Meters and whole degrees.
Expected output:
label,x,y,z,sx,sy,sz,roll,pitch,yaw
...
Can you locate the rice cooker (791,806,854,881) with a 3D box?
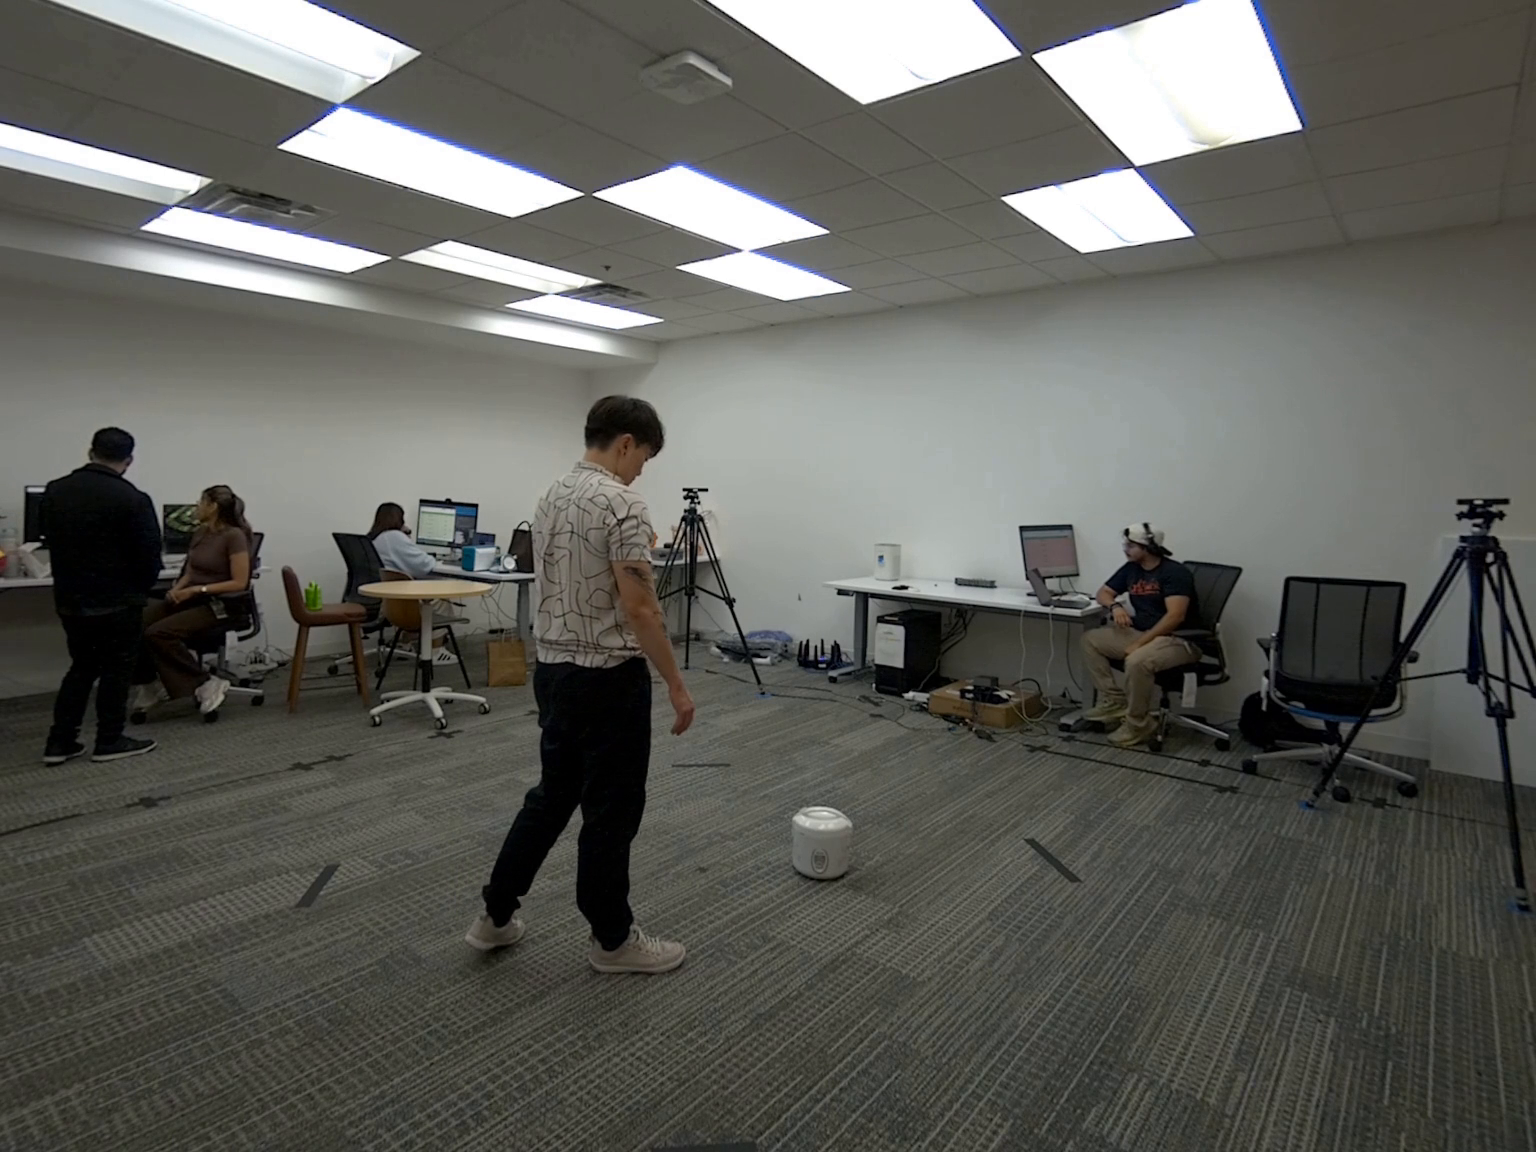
label,x,y,z,sx,sy,sz,roll,pitch,yaw
rice cooker,0.189,0.959,3.117,0.223,0.232,0.216,2,3,7
